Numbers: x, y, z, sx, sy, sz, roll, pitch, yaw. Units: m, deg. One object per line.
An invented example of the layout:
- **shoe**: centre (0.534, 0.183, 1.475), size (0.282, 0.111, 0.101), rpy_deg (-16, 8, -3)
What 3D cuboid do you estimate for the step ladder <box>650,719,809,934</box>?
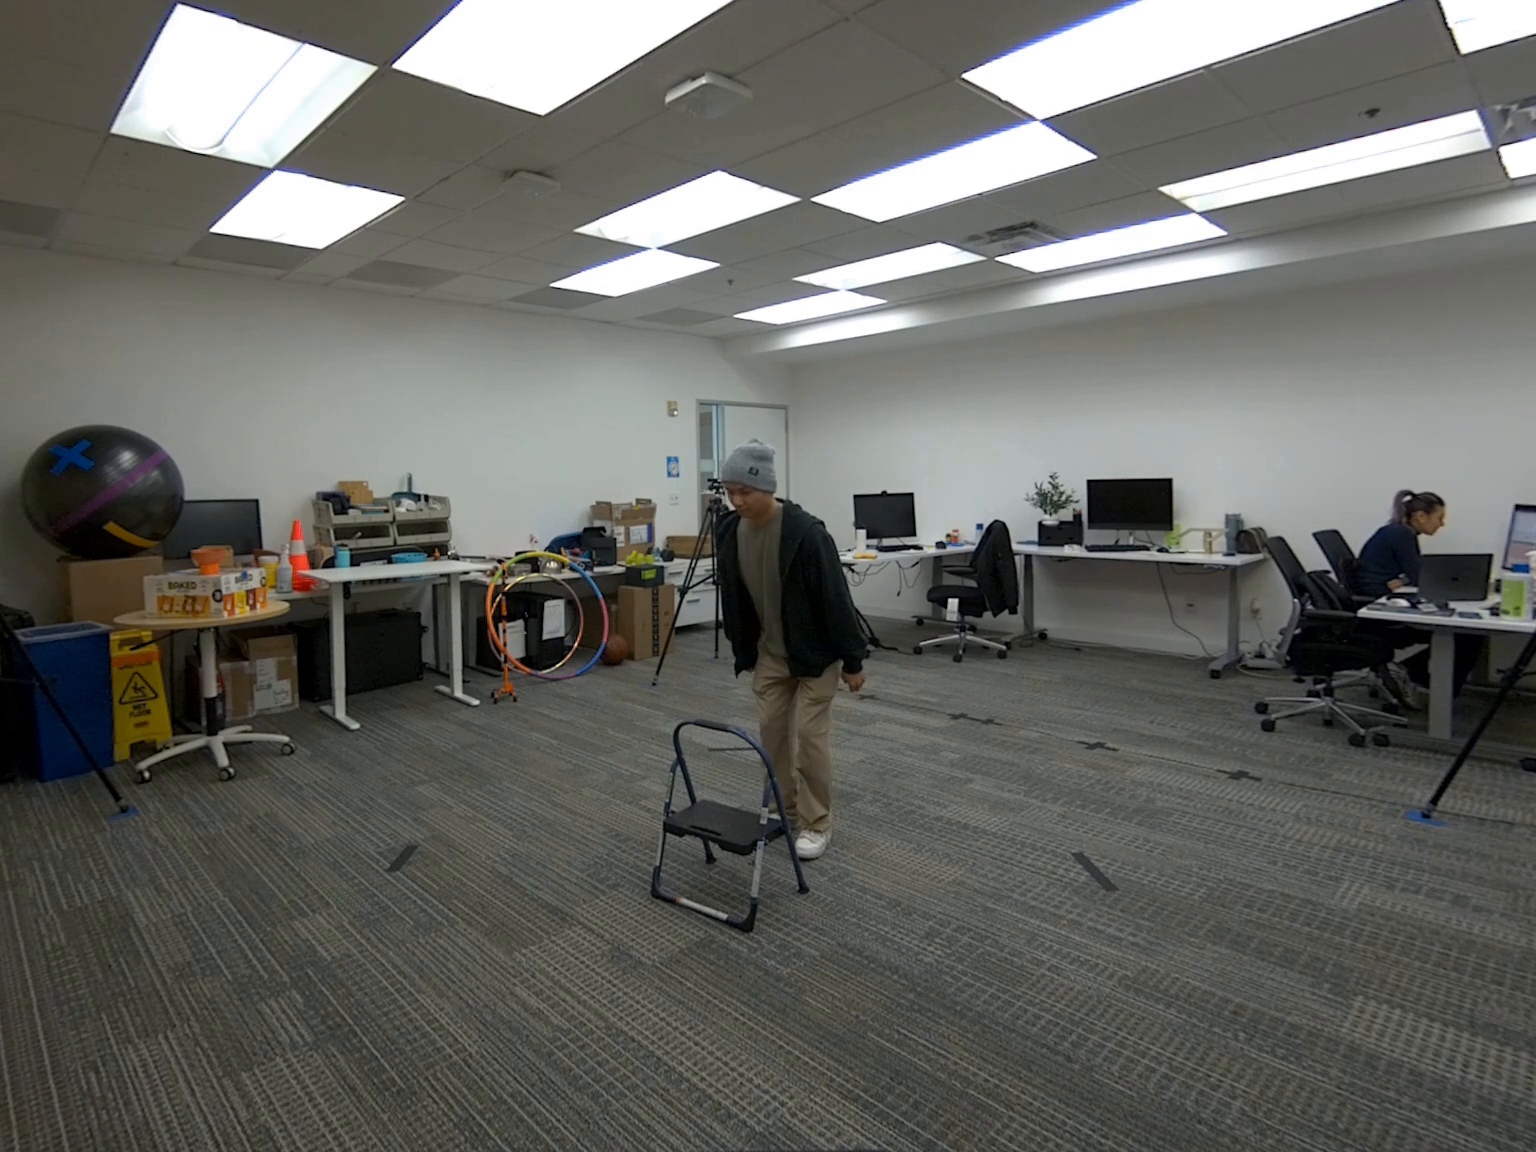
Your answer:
- **step ladder**: centre (-0.136, 0.771, 2.866), size (0.443, 0.604, 0.341), rpy_deg (2, 5, 35)
